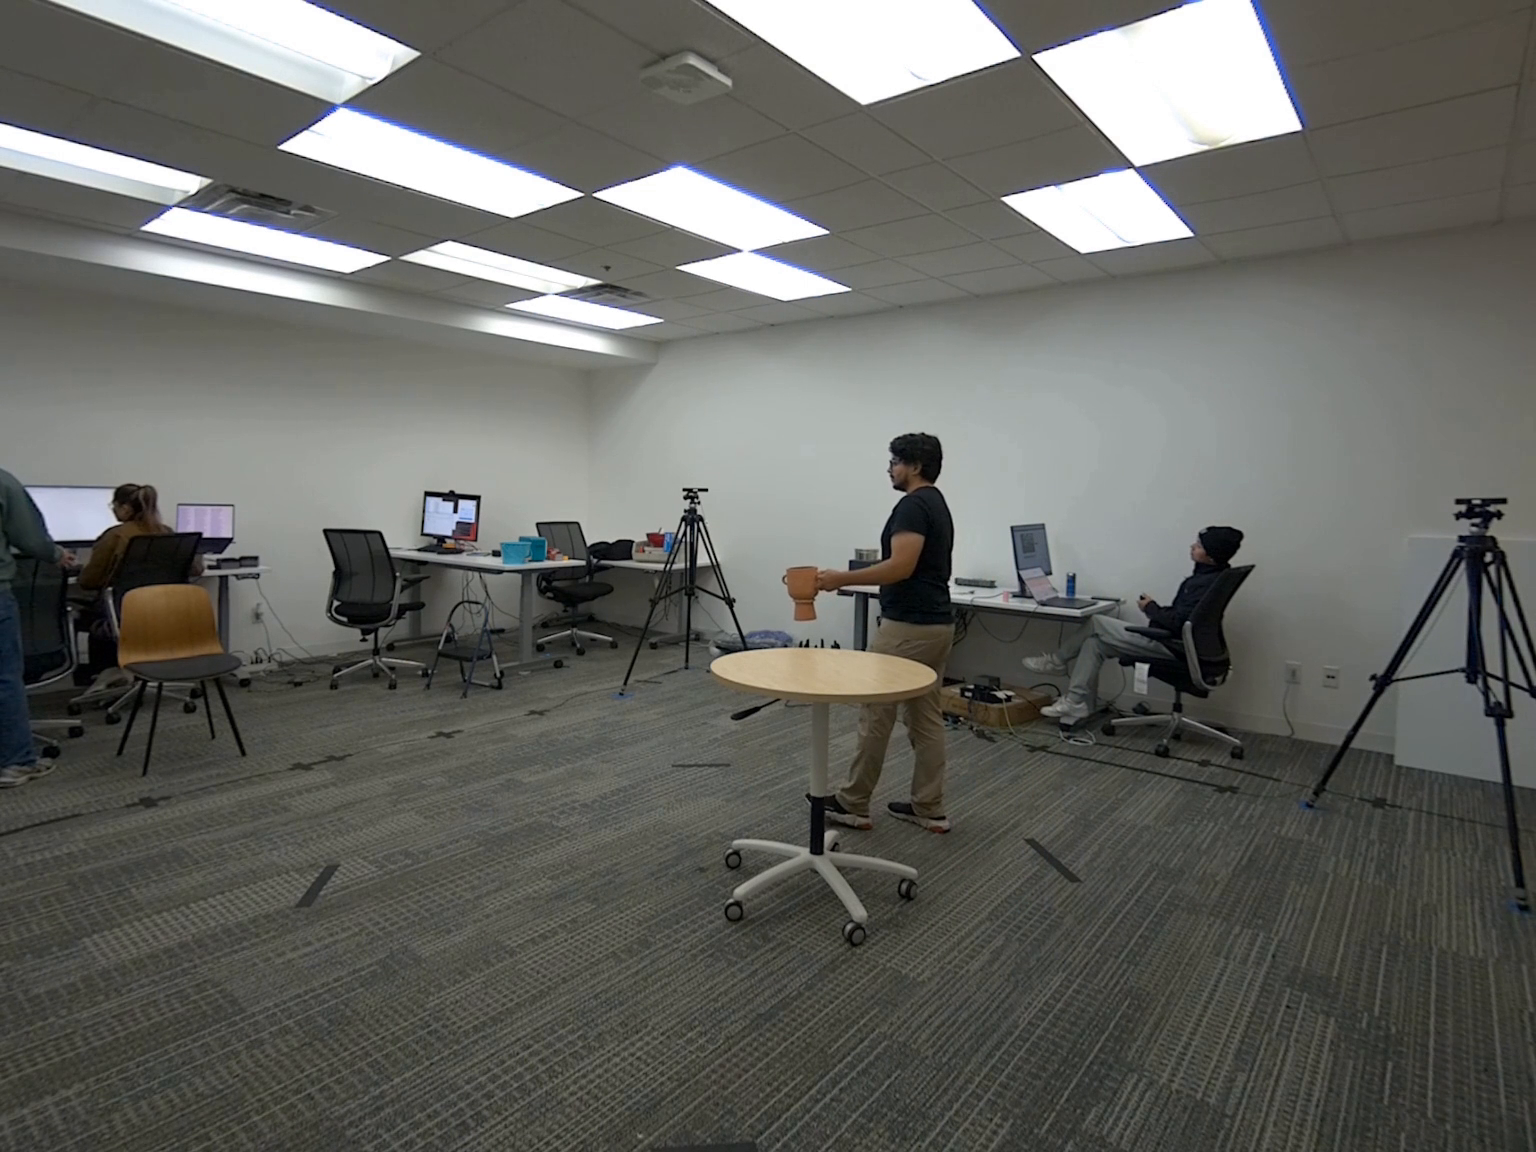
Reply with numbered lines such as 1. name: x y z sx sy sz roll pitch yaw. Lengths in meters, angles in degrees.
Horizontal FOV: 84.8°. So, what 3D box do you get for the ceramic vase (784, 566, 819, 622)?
1. ceramic vase: 0.143 0.070 3.604 0.132 0.219 0.162 -4 2 -18
